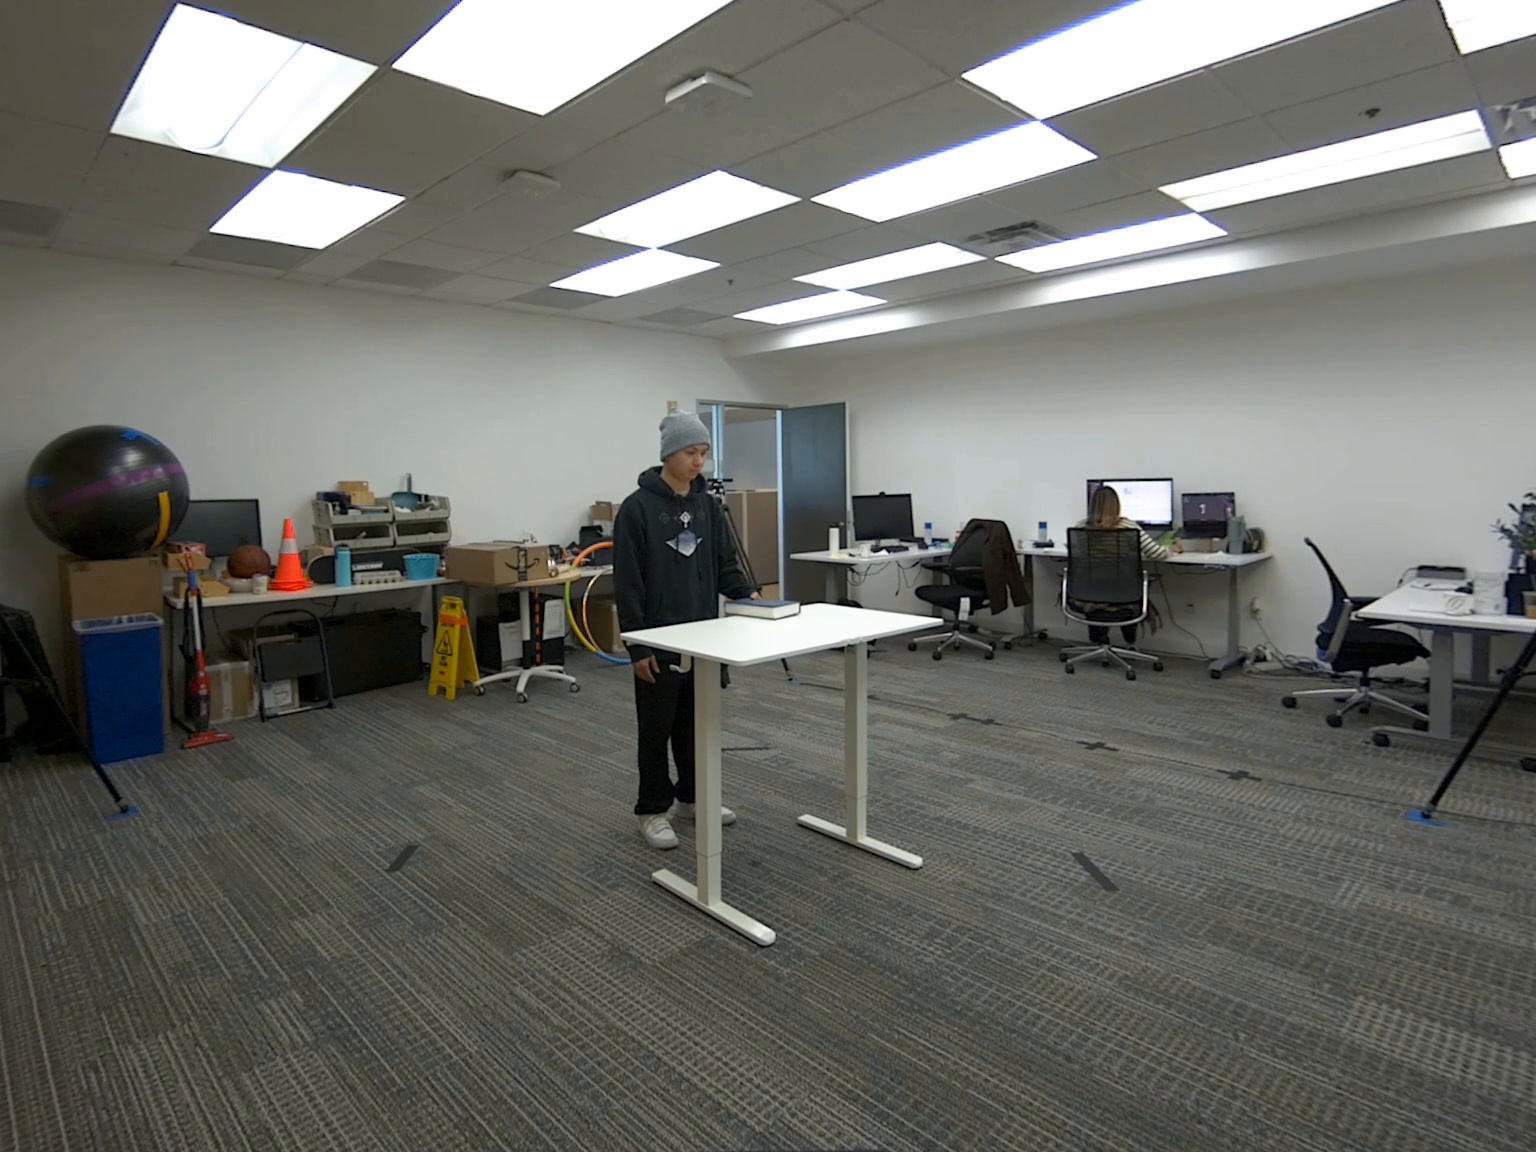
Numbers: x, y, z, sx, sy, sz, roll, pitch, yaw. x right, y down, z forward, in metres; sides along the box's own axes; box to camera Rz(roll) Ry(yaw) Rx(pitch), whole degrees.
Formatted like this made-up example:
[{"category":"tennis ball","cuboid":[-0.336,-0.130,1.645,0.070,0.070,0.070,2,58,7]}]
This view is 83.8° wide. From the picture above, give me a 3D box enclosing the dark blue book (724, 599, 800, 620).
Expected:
[{"category":"dark blue book","cuboid":[-0.020,0.117,3.239,0.252,0.045,0.159,2,6,39]}]
